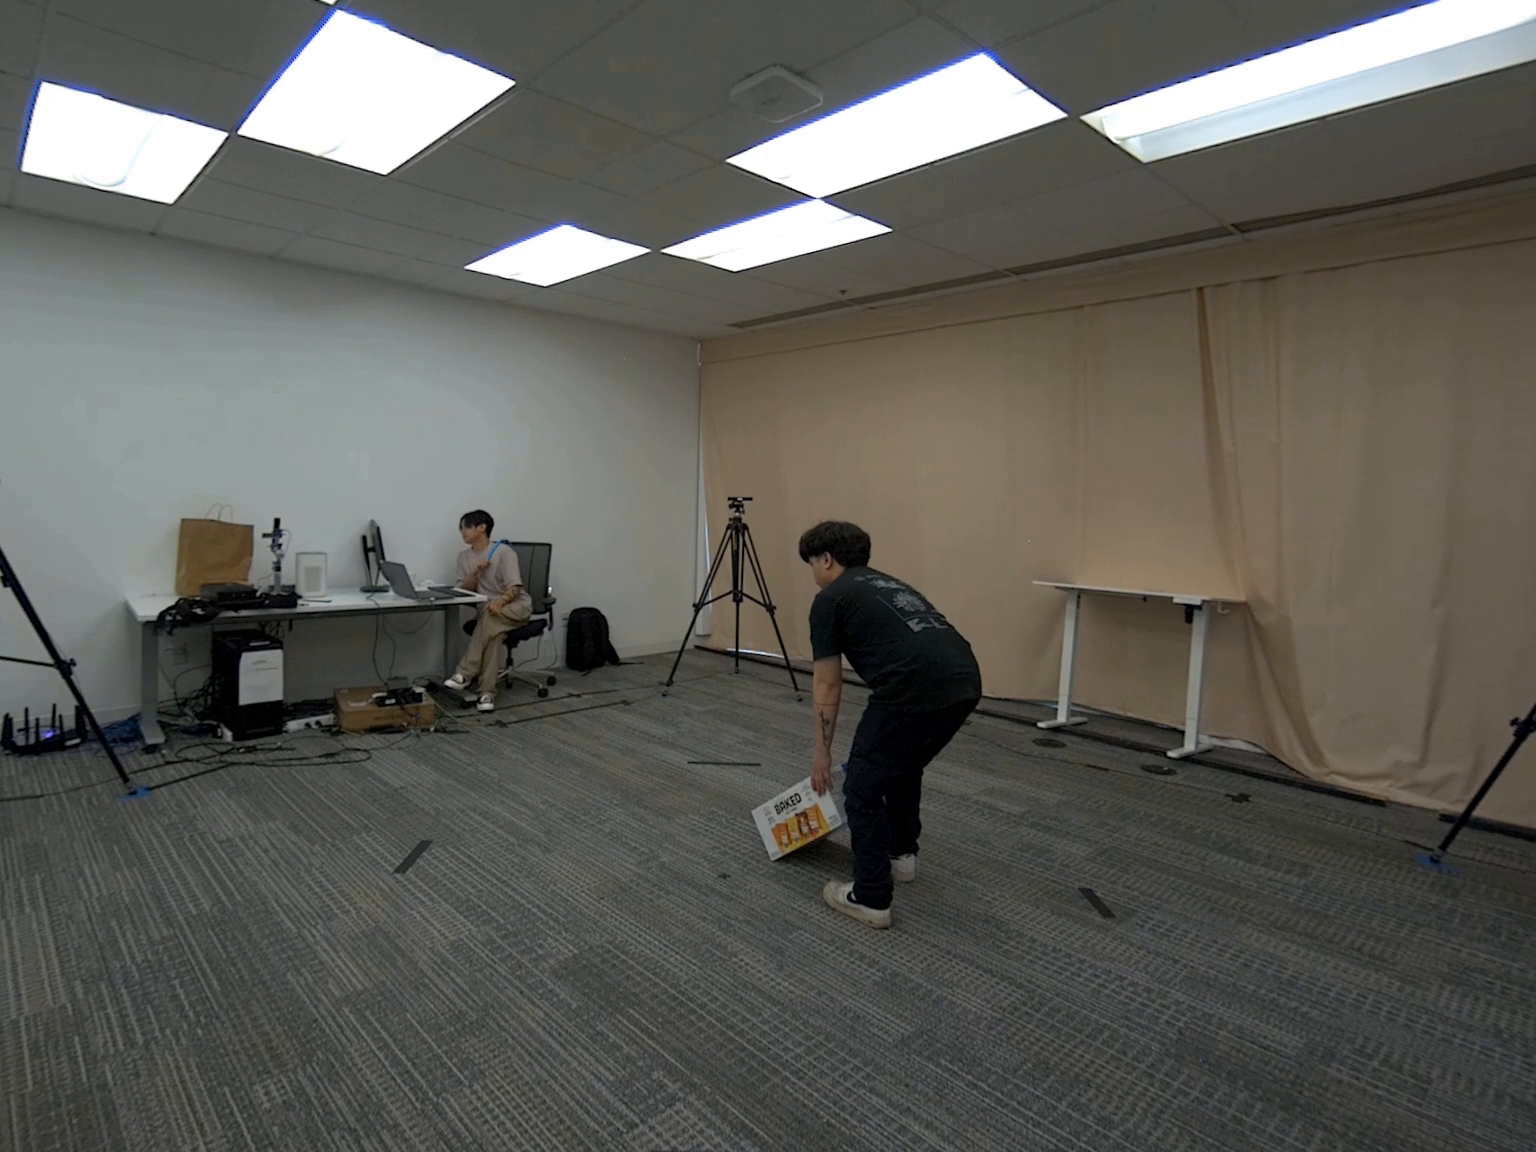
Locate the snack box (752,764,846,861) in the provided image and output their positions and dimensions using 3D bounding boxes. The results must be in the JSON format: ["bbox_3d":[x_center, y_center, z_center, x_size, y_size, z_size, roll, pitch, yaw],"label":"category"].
[{"bbox_3d":[0.206,0.902,3.278,0.332,0.210,0.406,-3,-29,-47],"label":"snack box"}]
